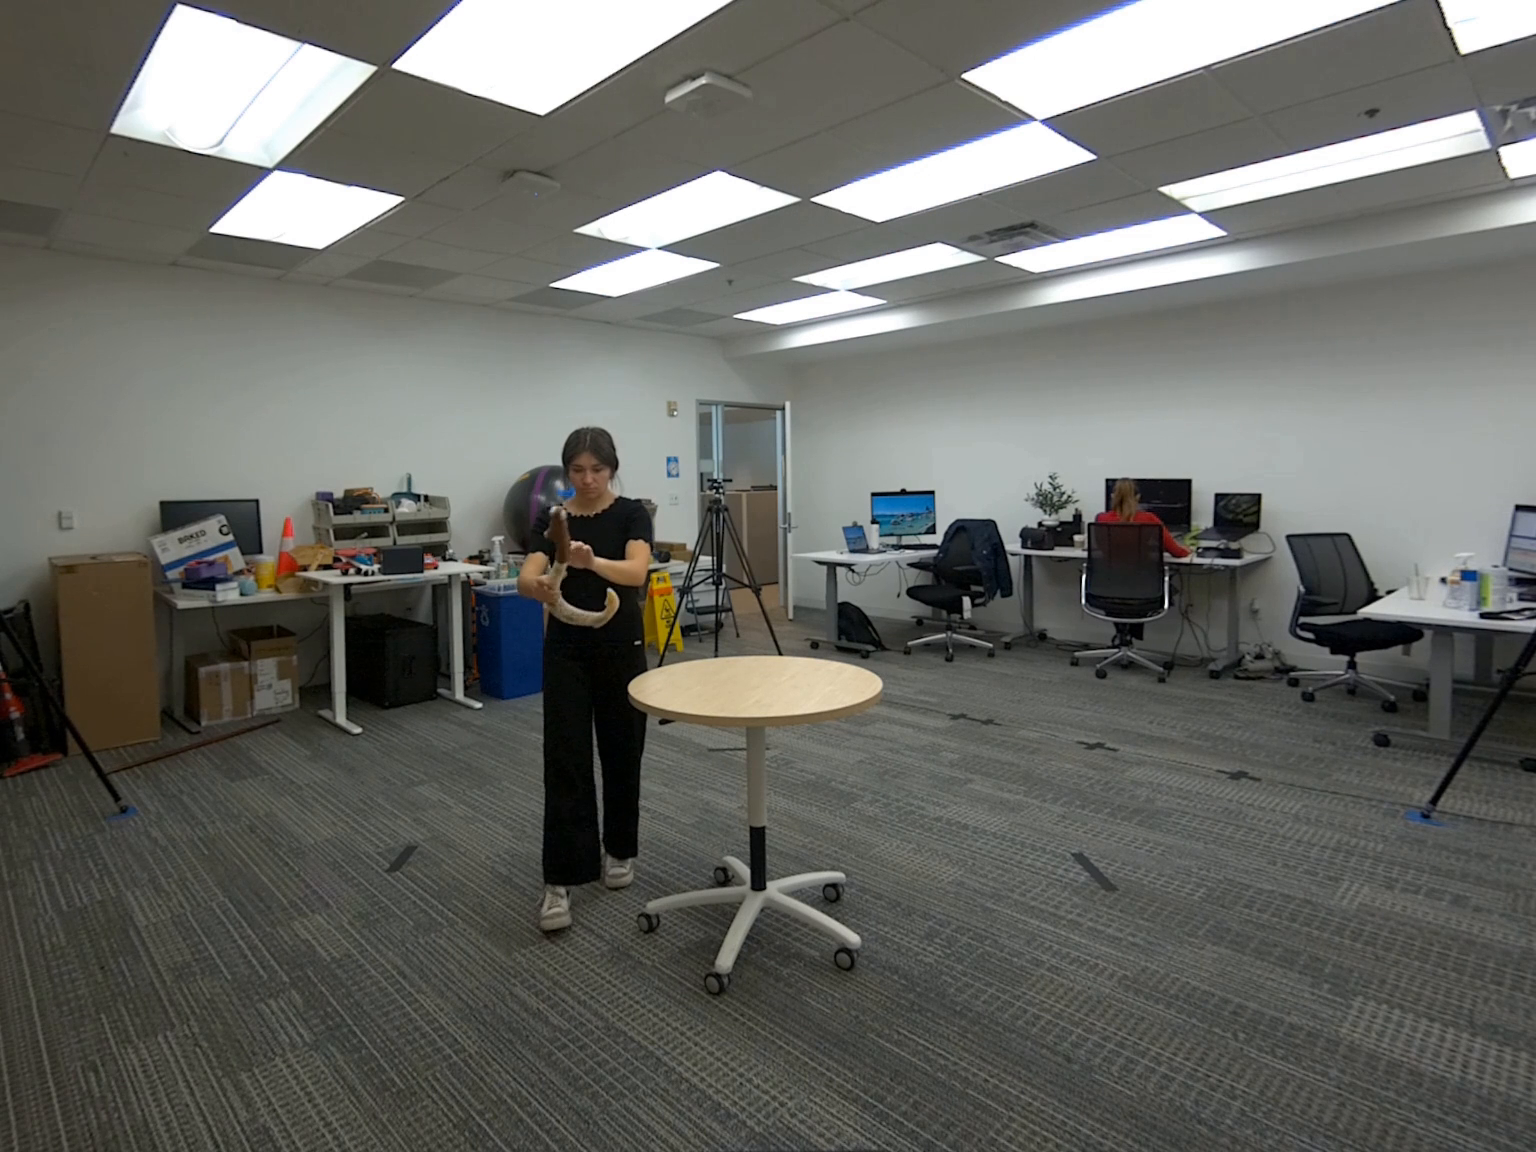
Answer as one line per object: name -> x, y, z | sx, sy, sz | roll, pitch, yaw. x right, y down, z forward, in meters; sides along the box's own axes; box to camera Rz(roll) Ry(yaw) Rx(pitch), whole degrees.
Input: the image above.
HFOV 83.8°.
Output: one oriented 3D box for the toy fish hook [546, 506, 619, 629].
toy fish hook -> -0.540, -0.008, 2.408 | 0.224, 0.049, 0.496 | 10, -41, -2
